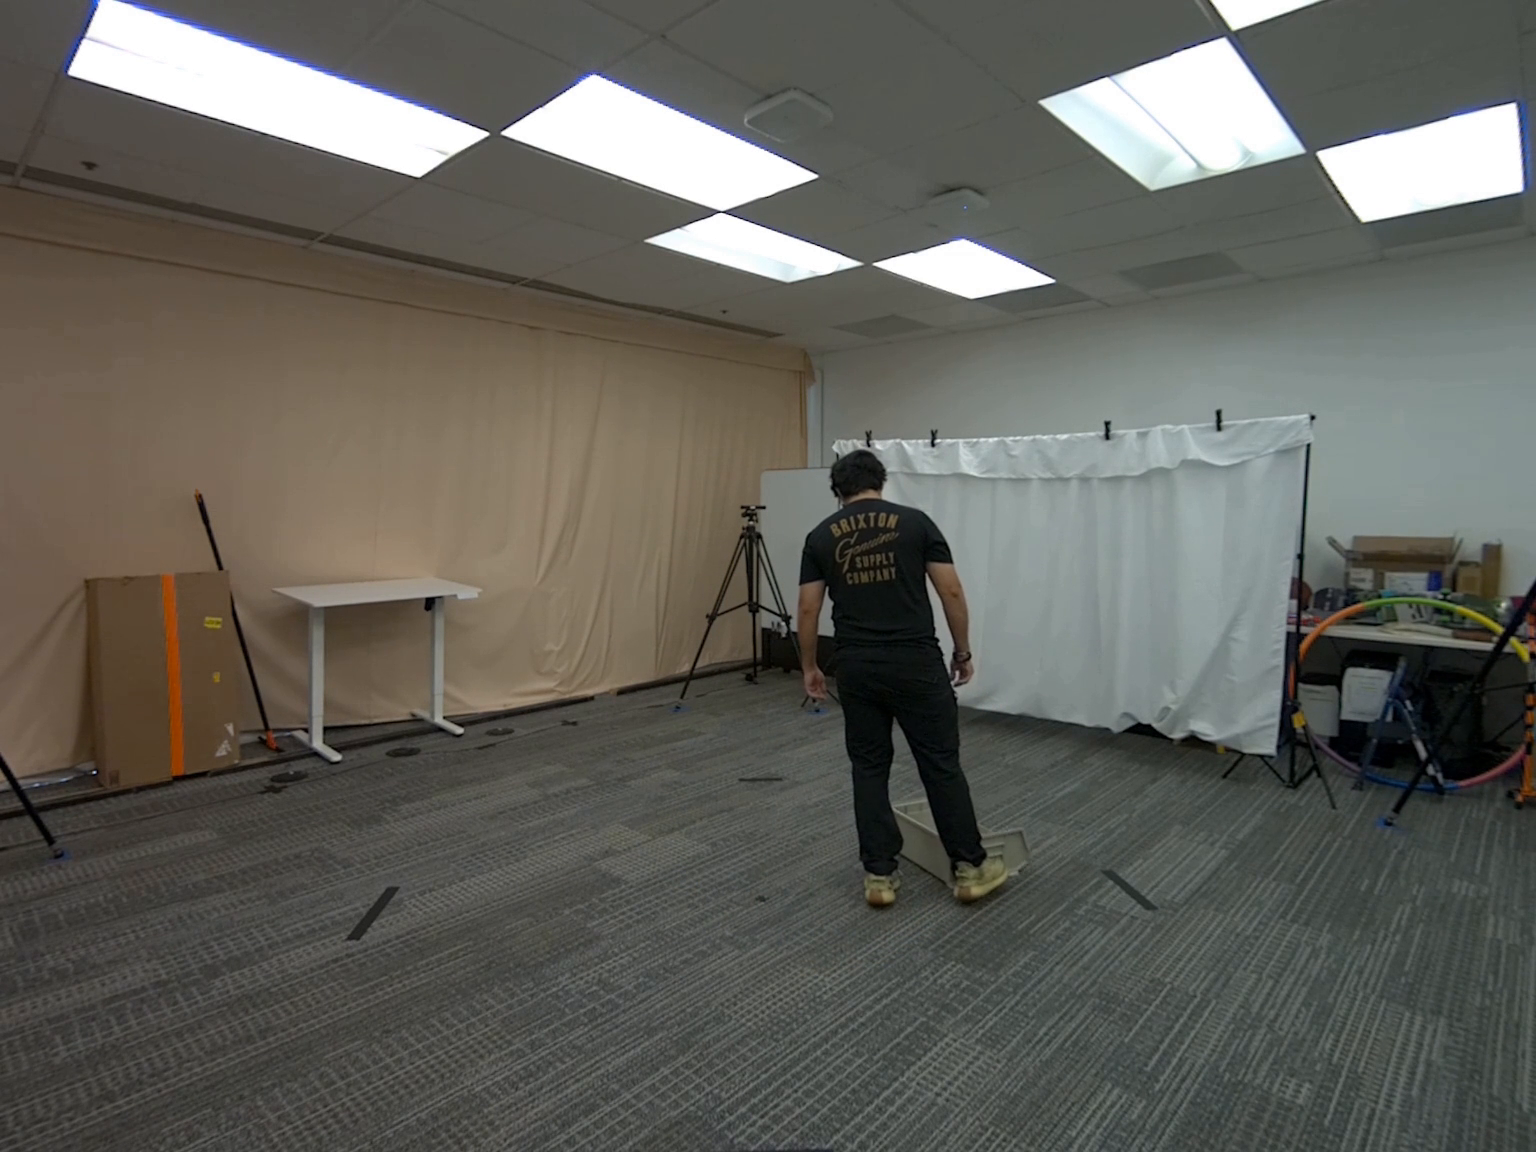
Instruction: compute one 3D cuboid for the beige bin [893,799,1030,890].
[{"bbox_3d":[0.745,1.032,3.311,0.369,0.188,0.433,-3,6,-24],"label":"beige bin"}]
